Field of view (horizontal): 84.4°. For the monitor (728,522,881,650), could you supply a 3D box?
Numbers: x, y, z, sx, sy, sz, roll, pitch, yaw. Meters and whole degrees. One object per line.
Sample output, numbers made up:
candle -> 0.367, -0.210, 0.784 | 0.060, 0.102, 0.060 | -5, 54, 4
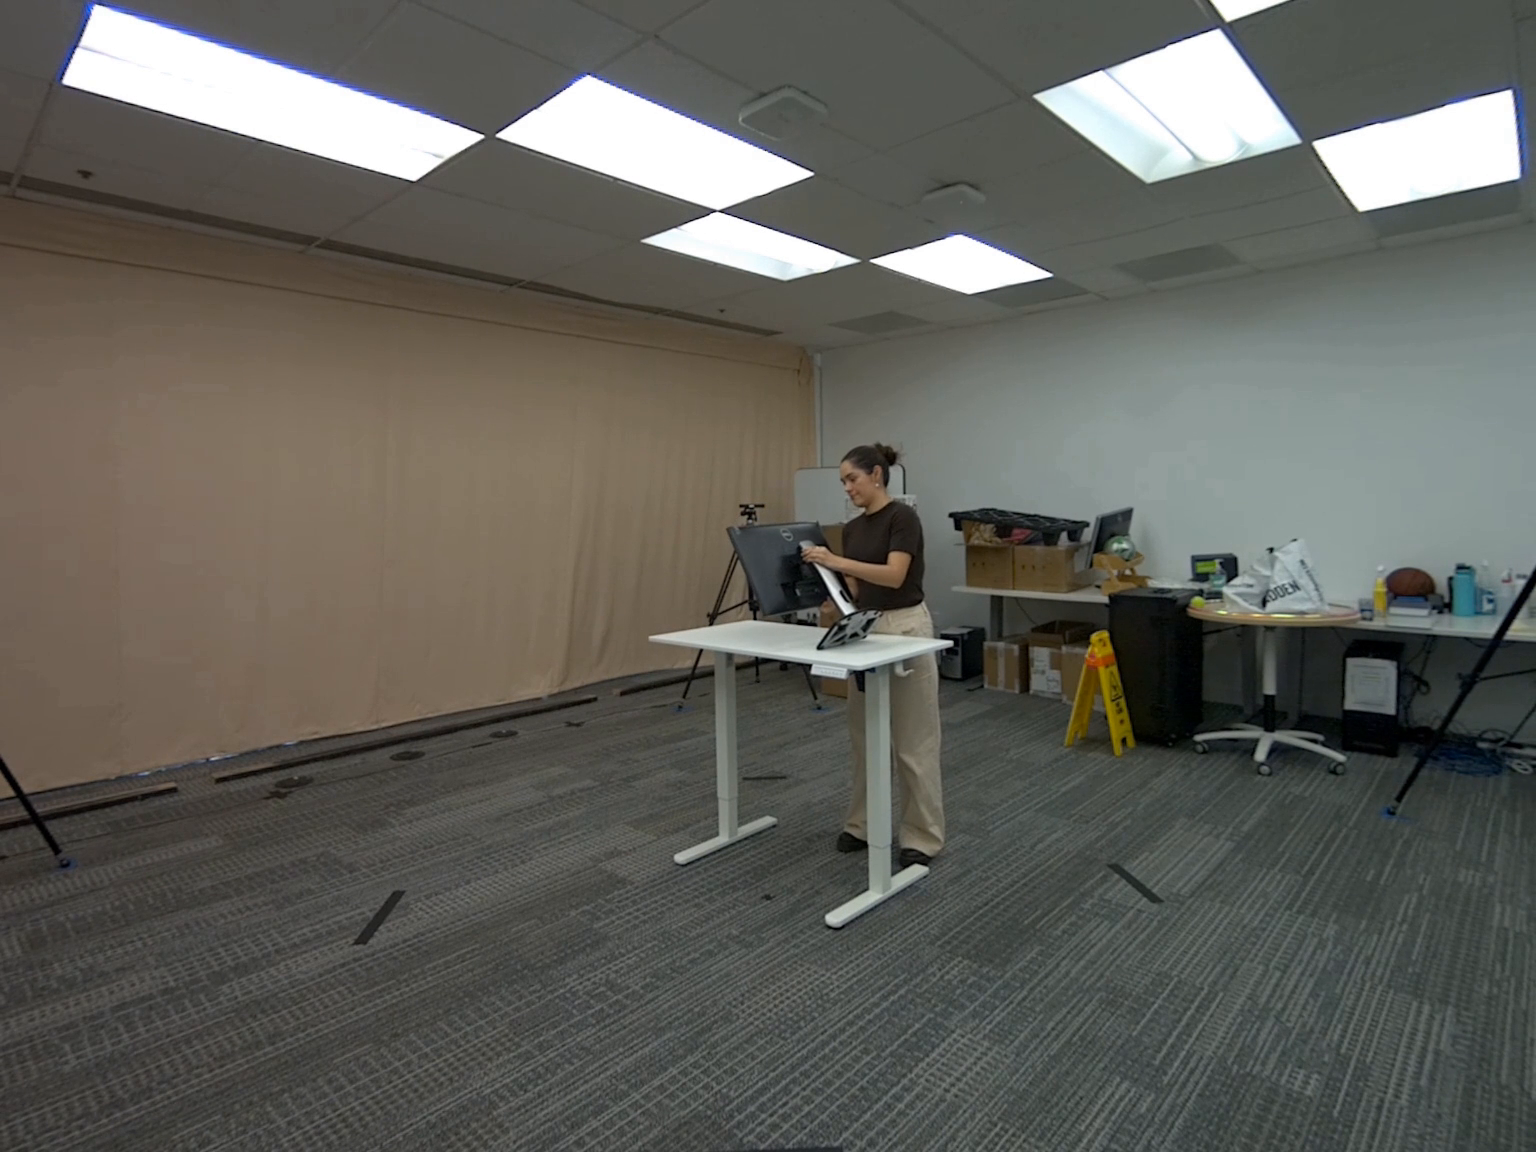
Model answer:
monitor -> 0.171, 0.007, 3.089 | 0.523, 0.537, 0.188 | -4, -41, -49
